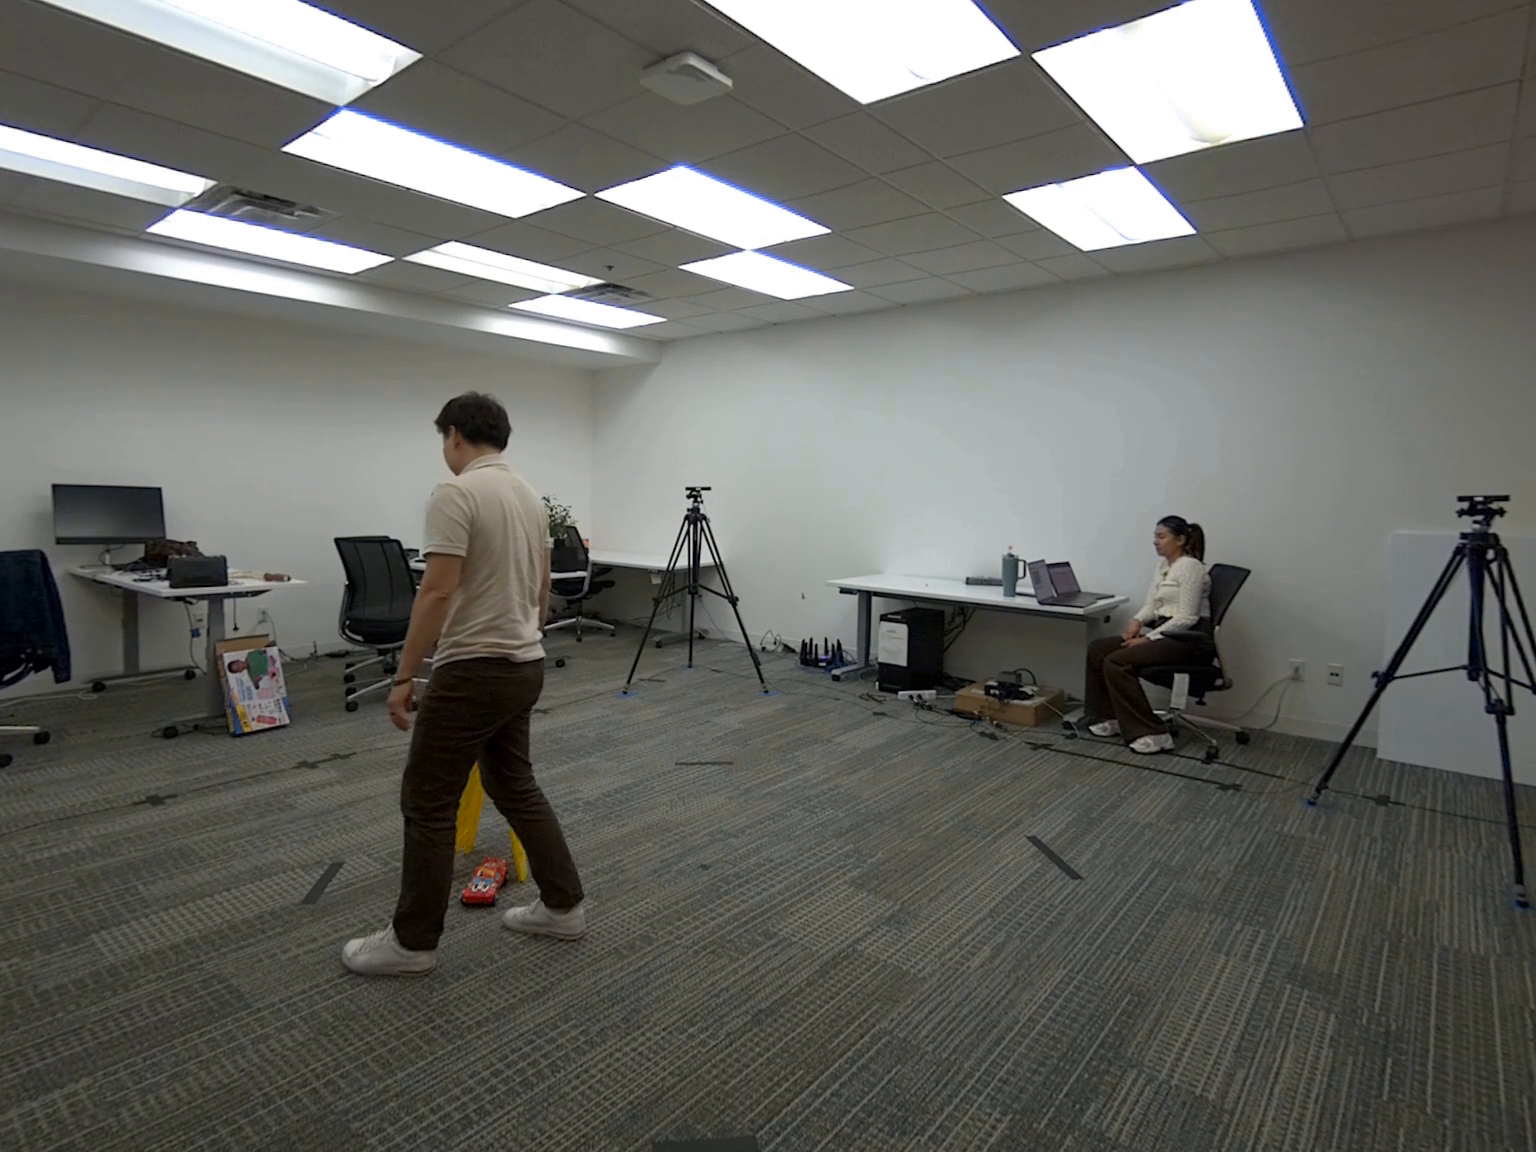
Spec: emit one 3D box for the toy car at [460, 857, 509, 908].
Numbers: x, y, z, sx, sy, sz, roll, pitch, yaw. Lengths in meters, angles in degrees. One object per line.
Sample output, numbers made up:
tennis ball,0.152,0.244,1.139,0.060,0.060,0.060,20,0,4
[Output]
toy car,-0.976,1.043,2.907,0.130,0.082,0.258,0,16,-3
